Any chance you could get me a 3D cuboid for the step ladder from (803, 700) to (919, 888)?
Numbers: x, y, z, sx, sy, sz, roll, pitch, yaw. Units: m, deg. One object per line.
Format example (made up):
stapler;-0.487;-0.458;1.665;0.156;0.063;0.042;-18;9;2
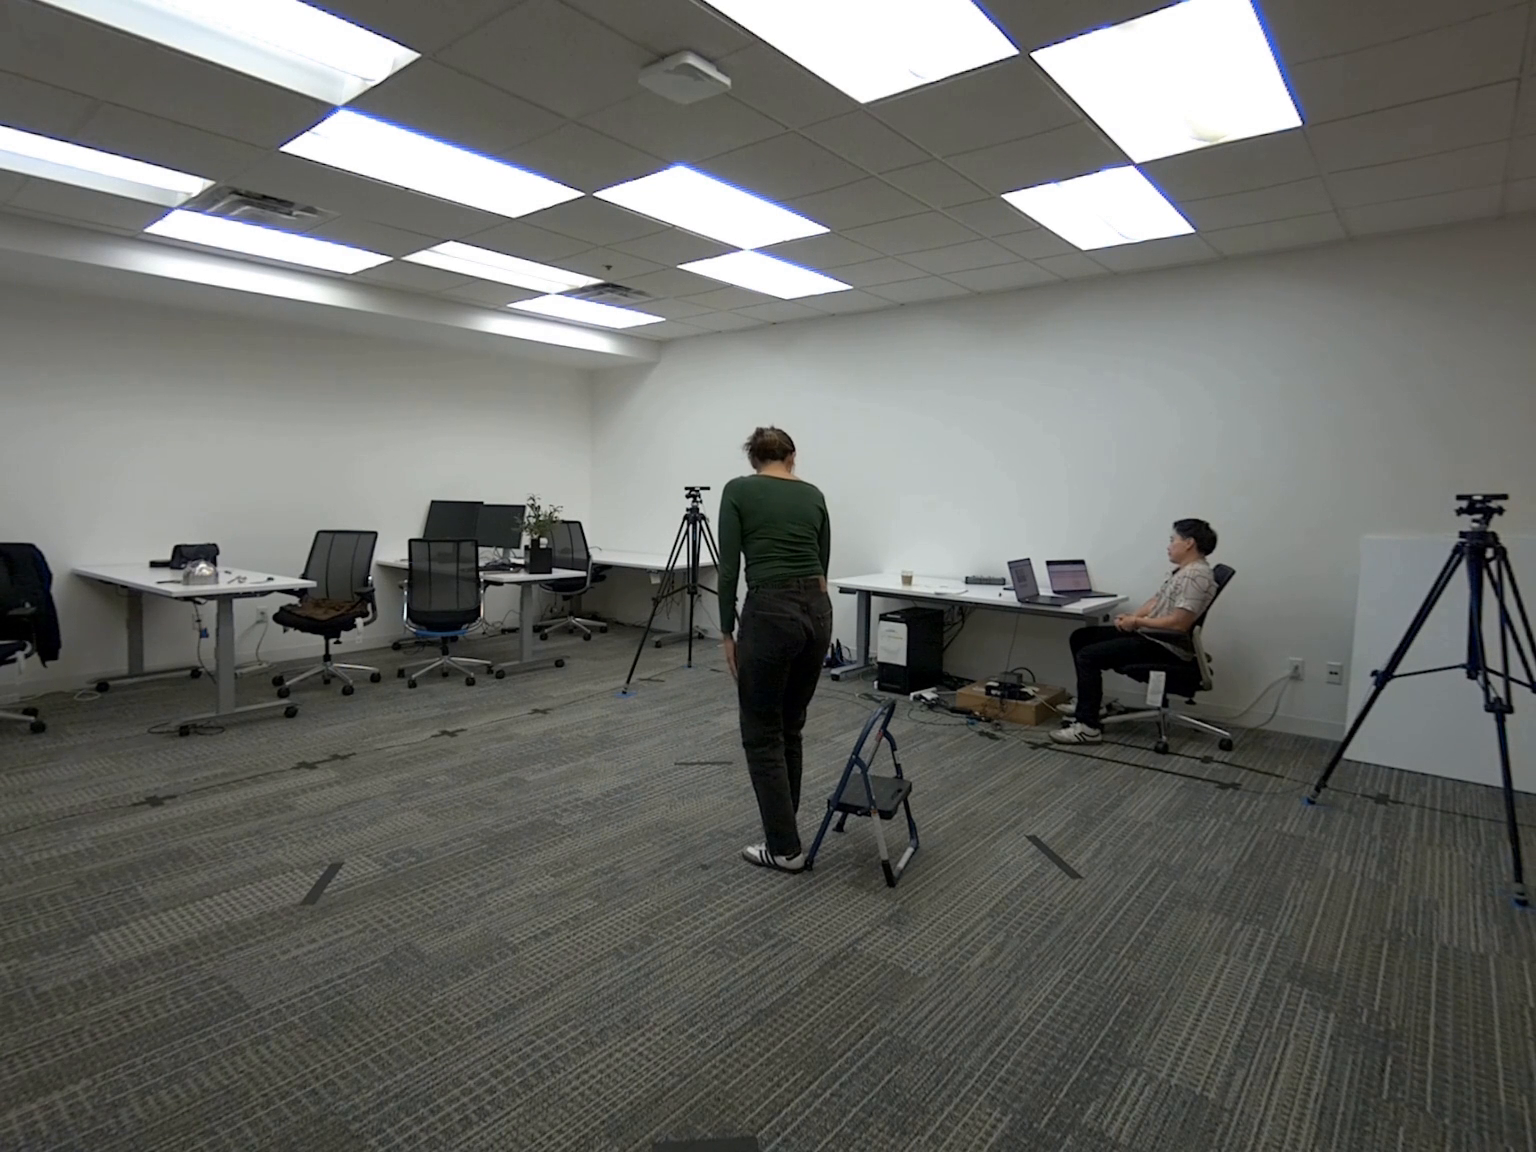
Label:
step ladder;0.359;0.764;3.214;0.358;0.604;0.421;2;4;23
